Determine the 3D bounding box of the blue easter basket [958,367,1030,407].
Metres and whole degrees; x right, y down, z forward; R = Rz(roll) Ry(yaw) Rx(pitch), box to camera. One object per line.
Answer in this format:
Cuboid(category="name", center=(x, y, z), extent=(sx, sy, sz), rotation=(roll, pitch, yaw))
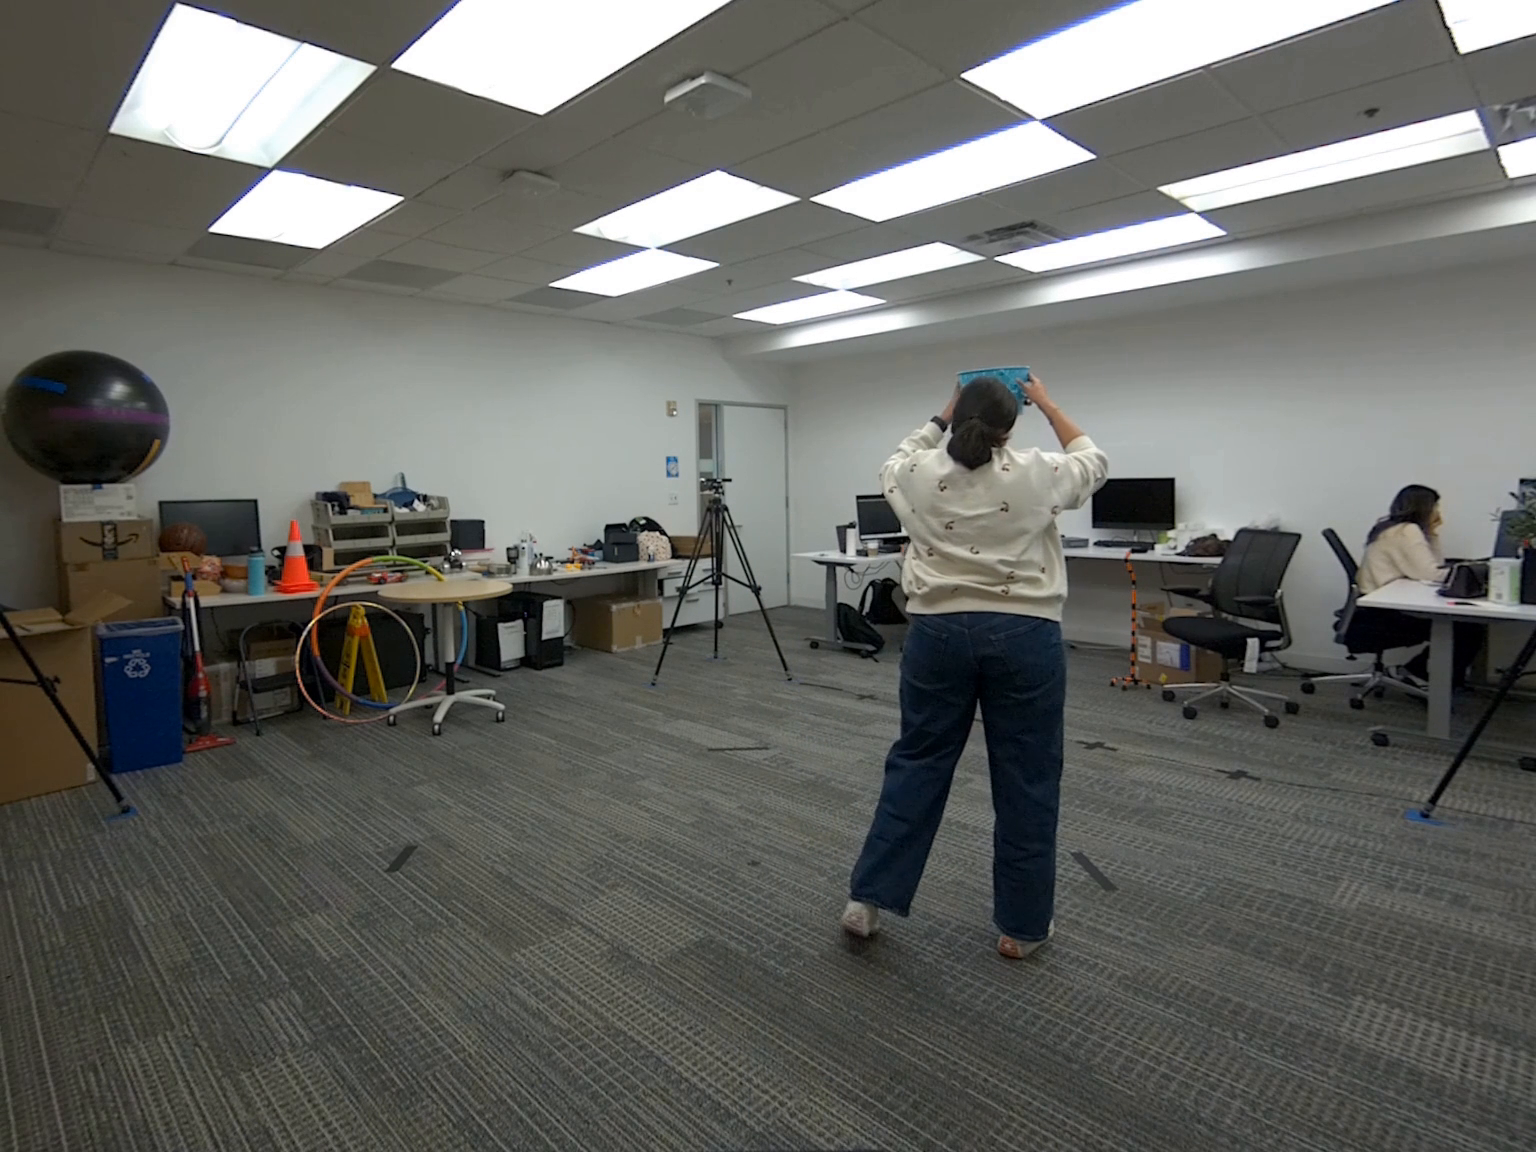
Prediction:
Cuboid(category="blue easter basket", center=(0.762, -0.613, 2.830), extent=(0.243, 0.155, 0.245), rotation=(-5, 9, -1))
